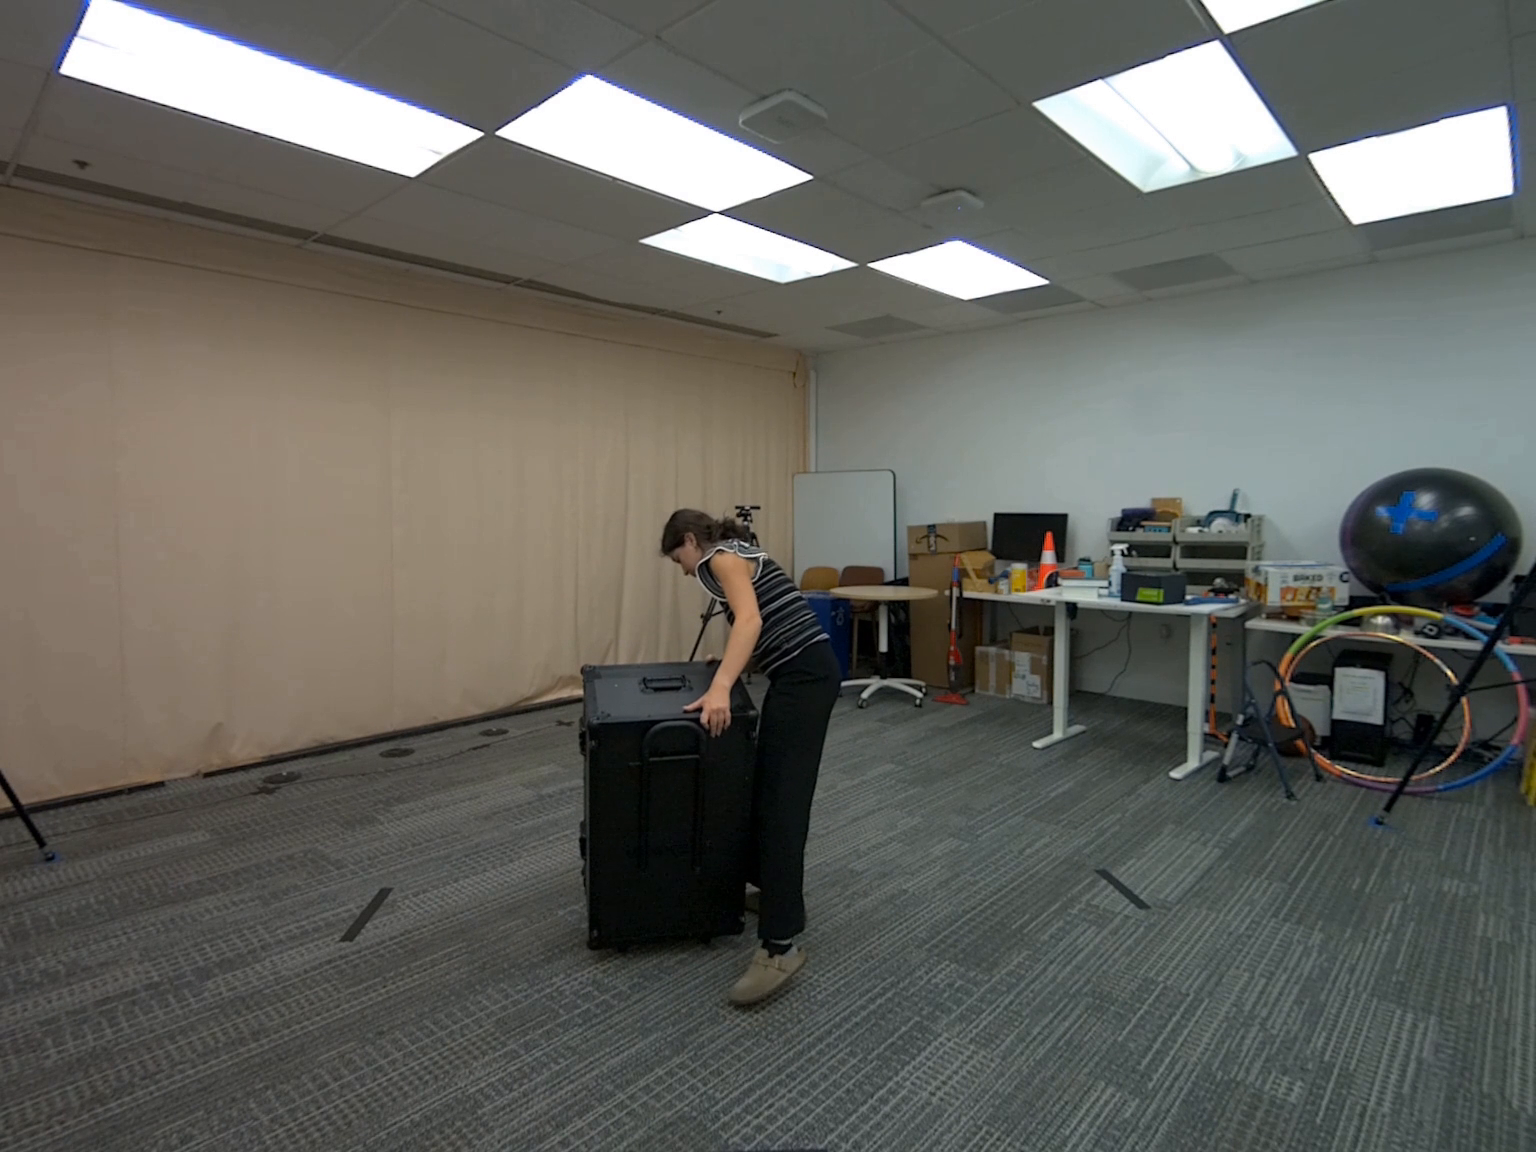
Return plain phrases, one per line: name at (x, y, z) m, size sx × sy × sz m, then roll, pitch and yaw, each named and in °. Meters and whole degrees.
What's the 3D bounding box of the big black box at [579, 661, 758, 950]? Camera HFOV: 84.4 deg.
big black box at (-0.336, 0.741, 2.627) m, size 0.515 × 0.853 × 0.405 m, roll 0°, pitch 19°, yaw -11°
